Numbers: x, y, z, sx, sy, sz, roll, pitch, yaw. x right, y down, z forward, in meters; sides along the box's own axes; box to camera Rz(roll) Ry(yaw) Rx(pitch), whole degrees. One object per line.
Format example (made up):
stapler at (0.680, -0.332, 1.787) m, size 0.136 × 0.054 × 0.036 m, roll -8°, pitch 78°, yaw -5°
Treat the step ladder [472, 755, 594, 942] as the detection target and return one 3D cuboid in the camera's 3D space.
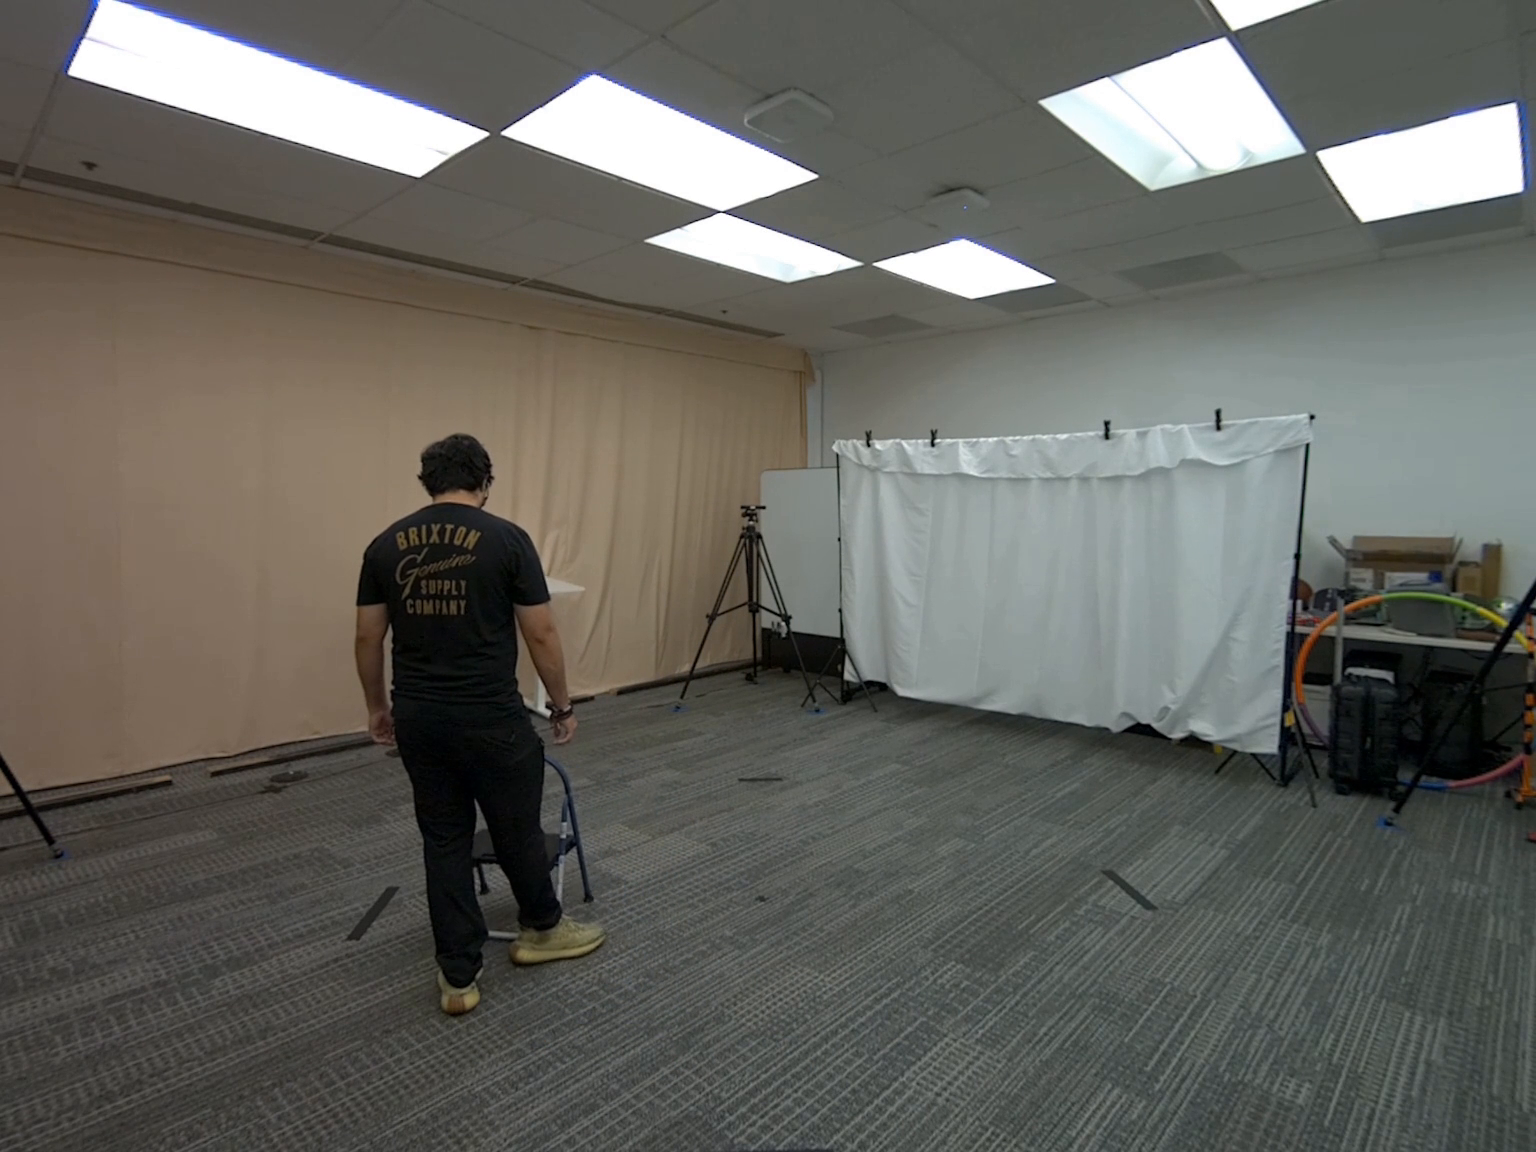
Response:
step ladder at (-0.854, 0.866, 2.845) m, size 0.435 × 0.605 × 0.346 m, roll 0°, pitch 3°, yaw 9°
